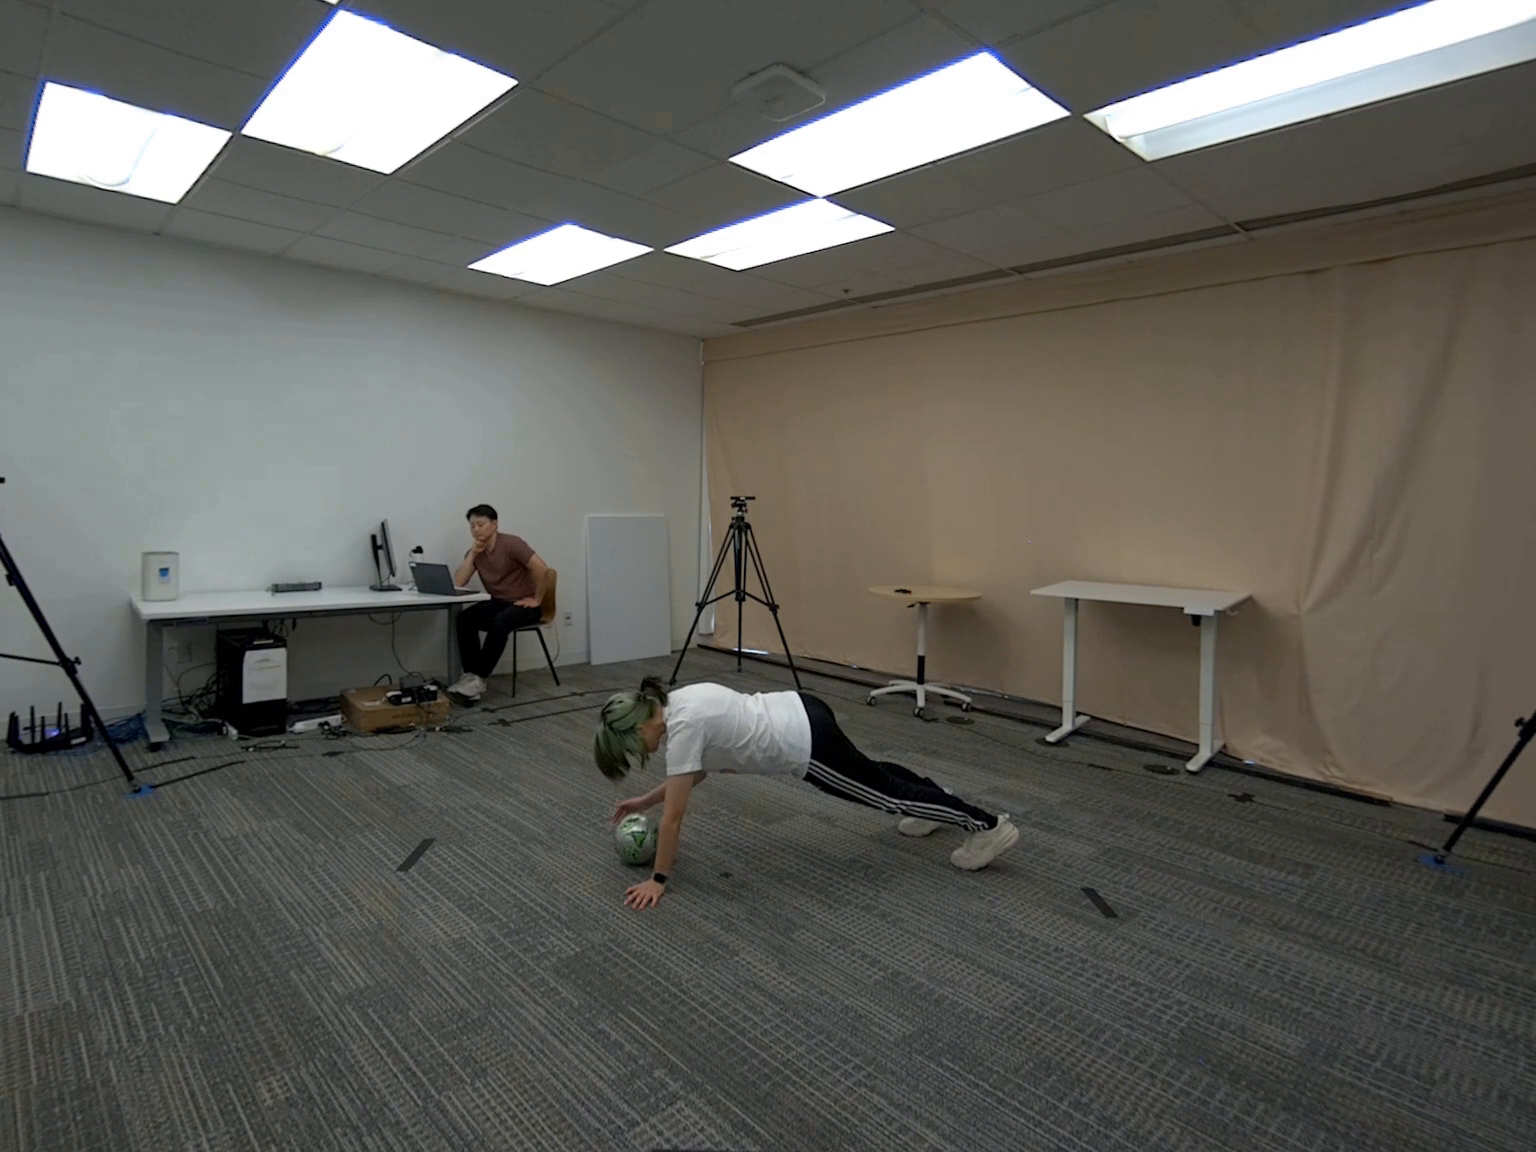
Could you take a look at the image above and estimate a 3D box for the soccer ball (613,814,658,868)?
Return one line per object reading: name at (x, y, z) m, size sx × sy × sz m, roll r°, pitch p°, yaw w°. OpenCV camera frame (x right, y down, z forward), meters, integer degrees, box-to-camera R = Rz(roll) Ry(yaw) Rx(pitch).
soccer ball at (-0.492, 0.992, 3.186) m, size 0.187 × 0.187 × 0.188 m, roll 1°, pitch 4°, yaw -1°
